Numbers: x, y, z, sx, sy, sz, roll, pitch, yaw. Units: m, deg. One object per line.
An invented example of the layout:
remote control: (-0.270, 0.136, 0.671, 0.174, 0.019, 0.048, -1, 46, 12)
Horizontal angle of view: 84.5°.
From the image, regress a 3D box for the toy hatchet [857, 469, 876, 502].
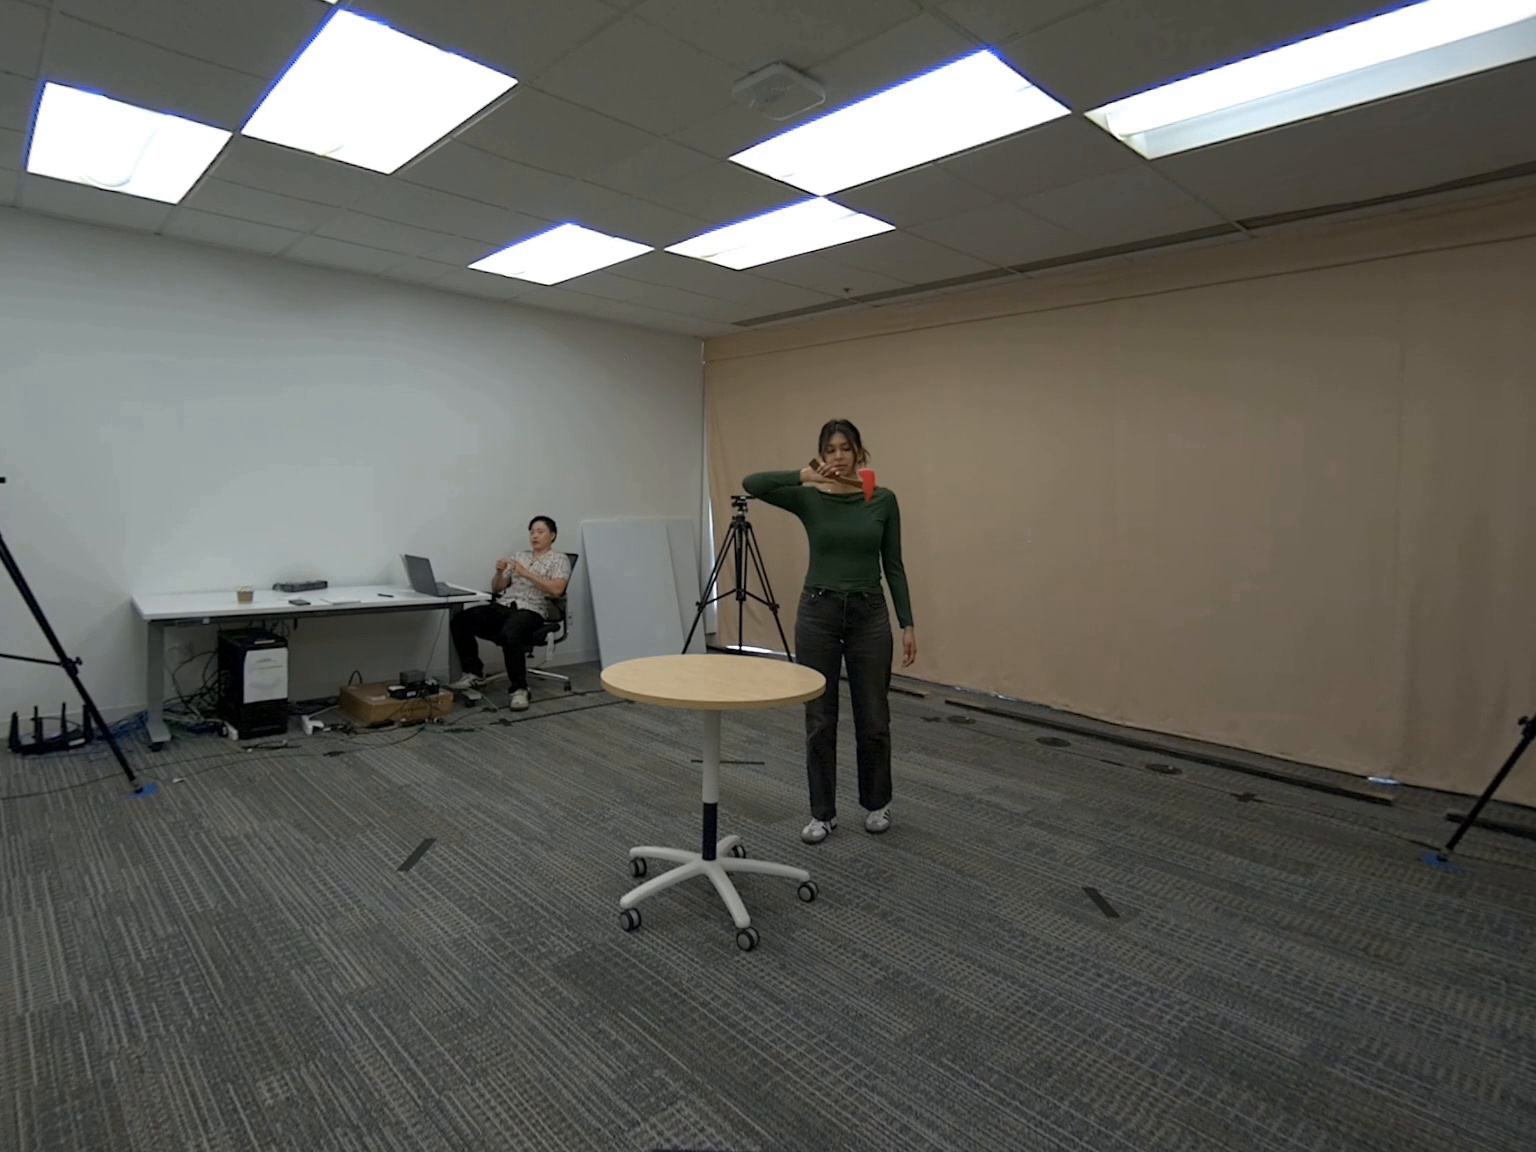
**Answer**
toy hatchet: (0.283, -0.391, 3.145, 0.272, 0.130, 0.029, 32, 40, 7)
